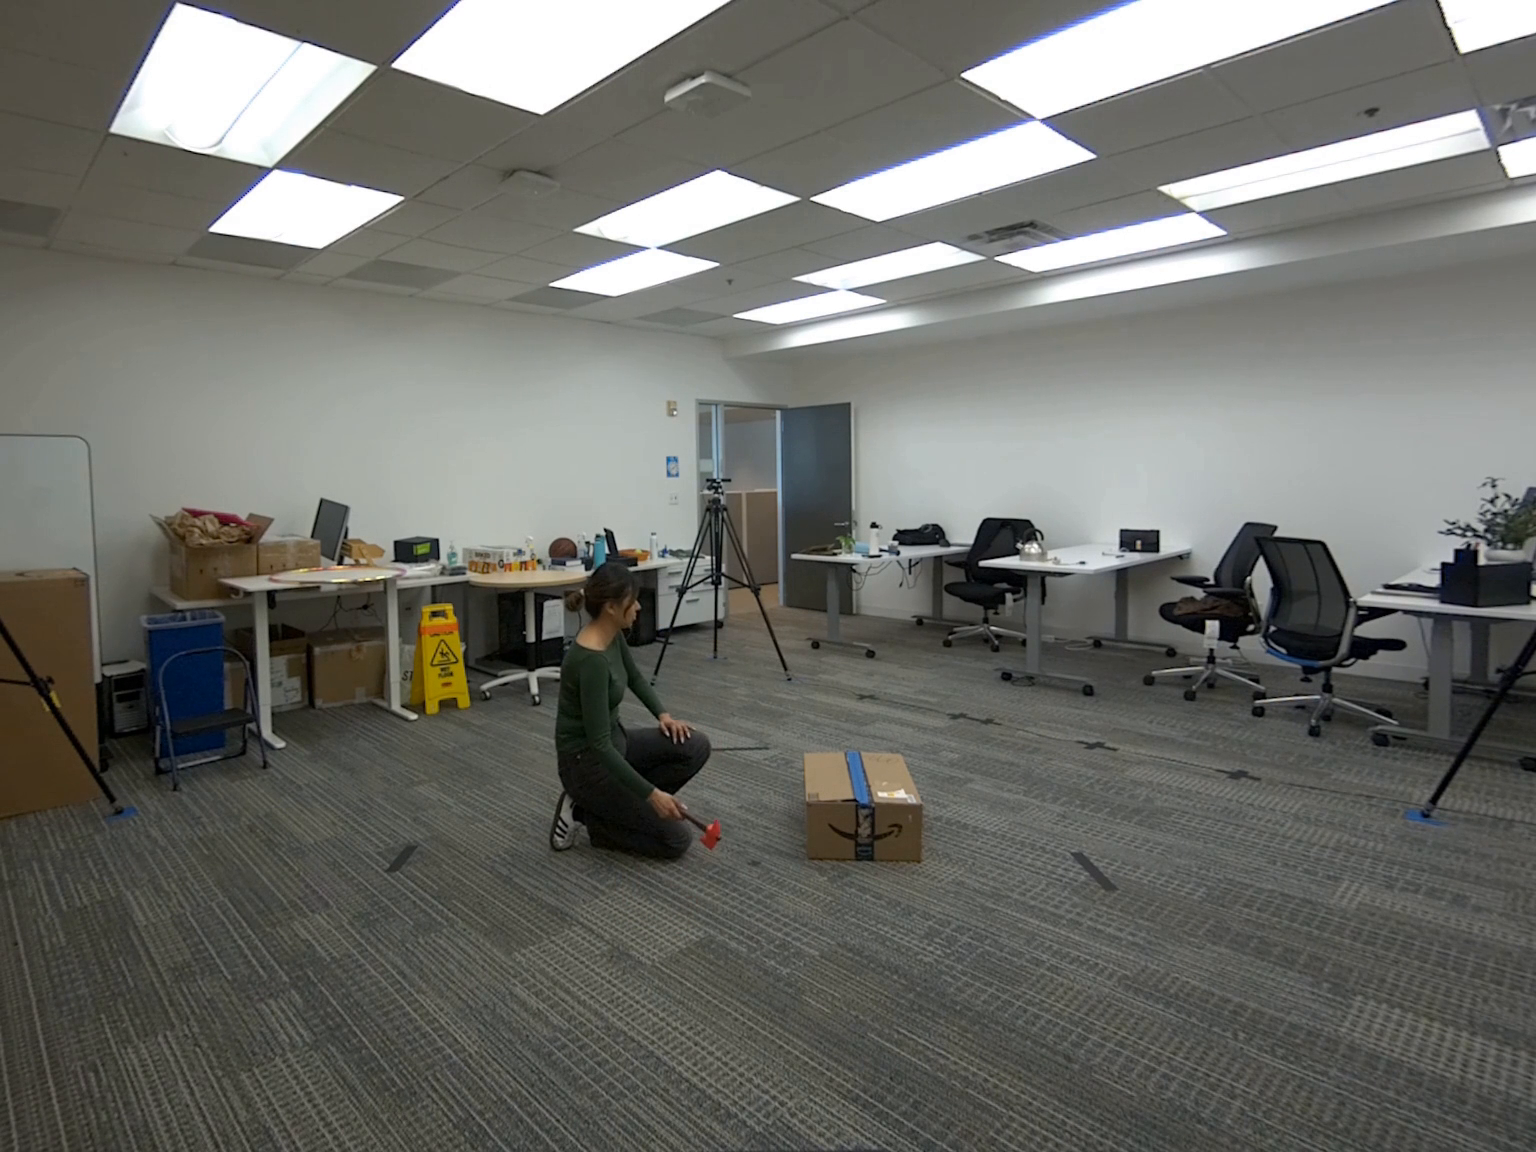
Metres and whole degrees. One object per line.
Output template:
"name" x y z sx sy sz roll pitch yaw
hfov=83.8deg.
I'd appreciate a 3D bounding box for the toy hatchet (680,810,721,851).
"toy hatchet" -0.267 0.877 2.978 0.278 0.130 0.029 3 14 38
